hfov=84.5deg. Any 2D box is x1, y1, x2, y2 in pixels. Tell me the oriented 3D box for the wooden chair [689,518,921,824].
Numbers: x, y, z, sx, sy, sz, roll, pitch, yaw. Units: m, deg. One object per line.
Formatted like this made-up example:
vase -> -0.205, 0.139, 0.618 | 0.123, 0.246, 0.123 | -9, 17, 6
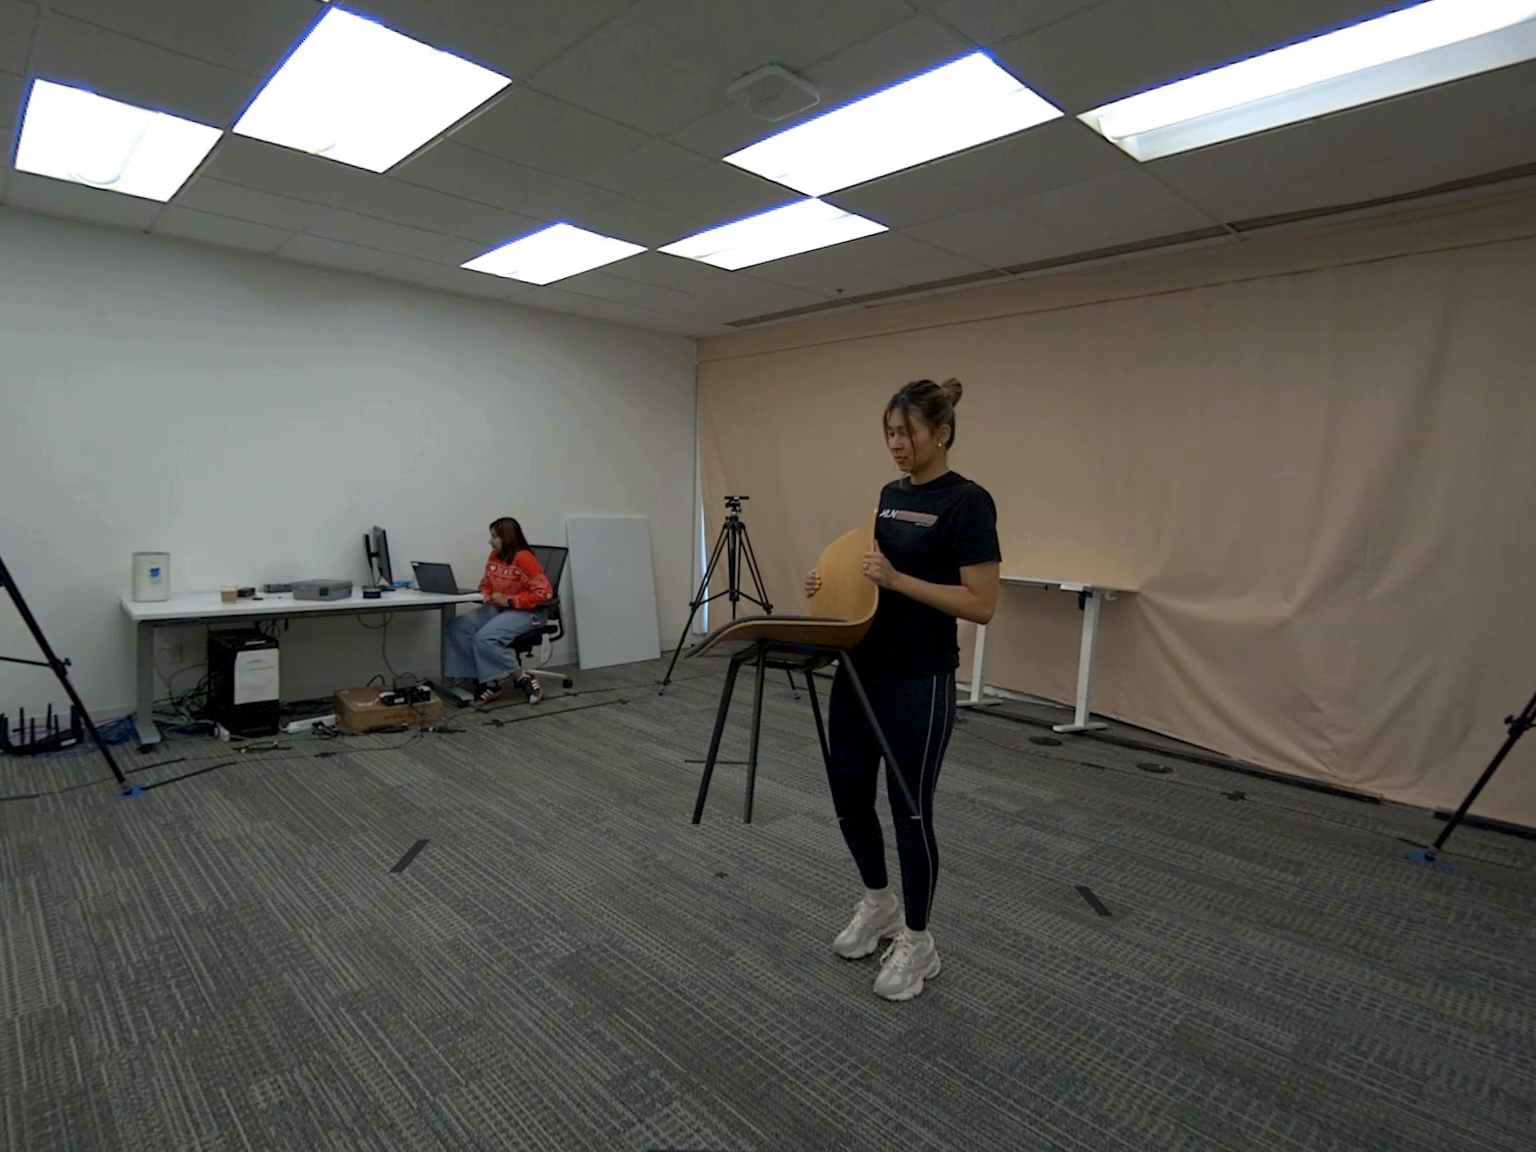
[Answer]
wooden chair -> 0.050, 0.234, 2.312 | 0.515, 0.889, 0.479 | 7, -20, -18
